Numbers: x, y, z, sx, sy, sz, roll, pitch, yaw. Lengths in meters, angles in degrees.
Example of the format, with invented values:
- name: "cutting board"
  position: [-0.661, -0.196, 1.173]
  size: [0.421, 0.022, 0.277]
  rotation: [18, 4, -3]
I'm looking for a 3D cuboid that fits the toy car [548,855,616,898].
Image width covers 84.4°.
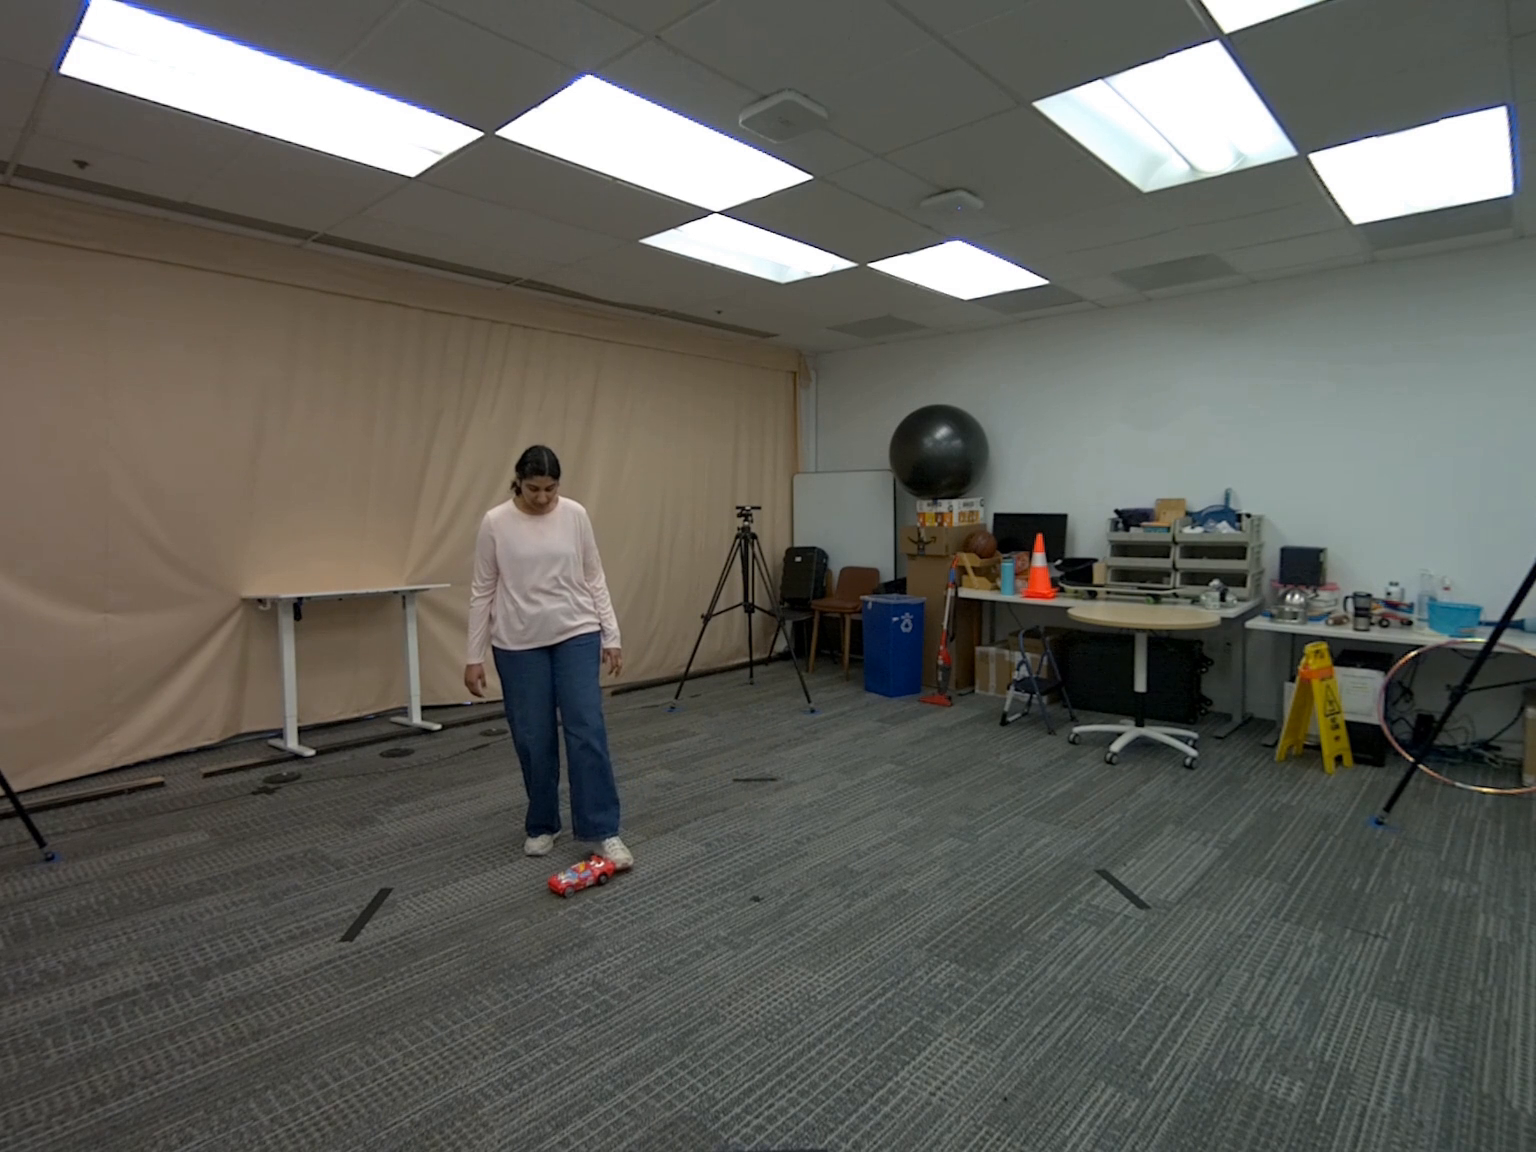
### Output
- name: "toy car"
  position: [-0.690, 1.104, 3.102]
  size: [0.134, 0.082, 0.248]
  rotation: [4, 17, 46]
